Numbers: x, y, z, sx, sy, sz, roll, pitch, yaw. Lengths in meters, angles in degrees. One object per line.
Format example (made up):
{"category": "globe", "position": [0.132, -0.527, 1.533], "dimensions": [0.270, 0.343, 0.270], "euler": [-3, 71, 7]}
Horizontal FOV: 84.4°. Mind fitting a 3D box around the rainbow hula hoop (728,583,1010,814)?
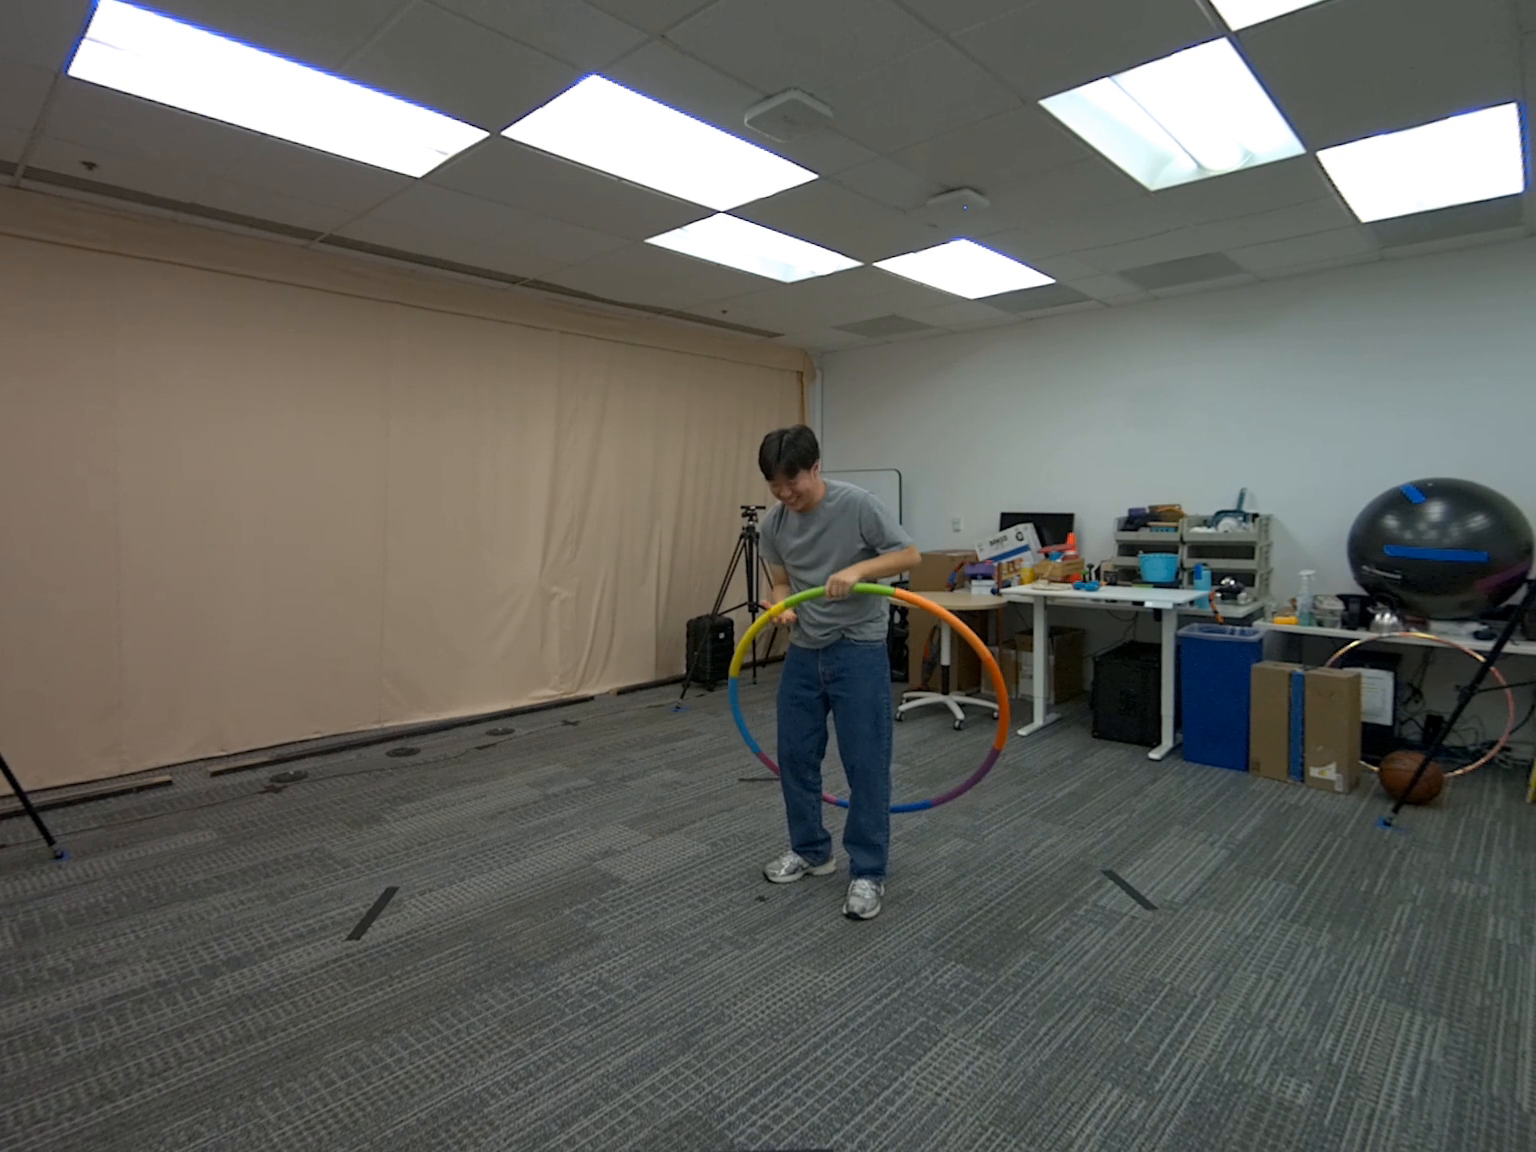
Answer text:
{"category": "rainbow hula hoop", "position": [0.332, 0.451, 2.984], "dimensions": [0.996, 0.961, 0.035], "euler": [2, 28, 16]}
